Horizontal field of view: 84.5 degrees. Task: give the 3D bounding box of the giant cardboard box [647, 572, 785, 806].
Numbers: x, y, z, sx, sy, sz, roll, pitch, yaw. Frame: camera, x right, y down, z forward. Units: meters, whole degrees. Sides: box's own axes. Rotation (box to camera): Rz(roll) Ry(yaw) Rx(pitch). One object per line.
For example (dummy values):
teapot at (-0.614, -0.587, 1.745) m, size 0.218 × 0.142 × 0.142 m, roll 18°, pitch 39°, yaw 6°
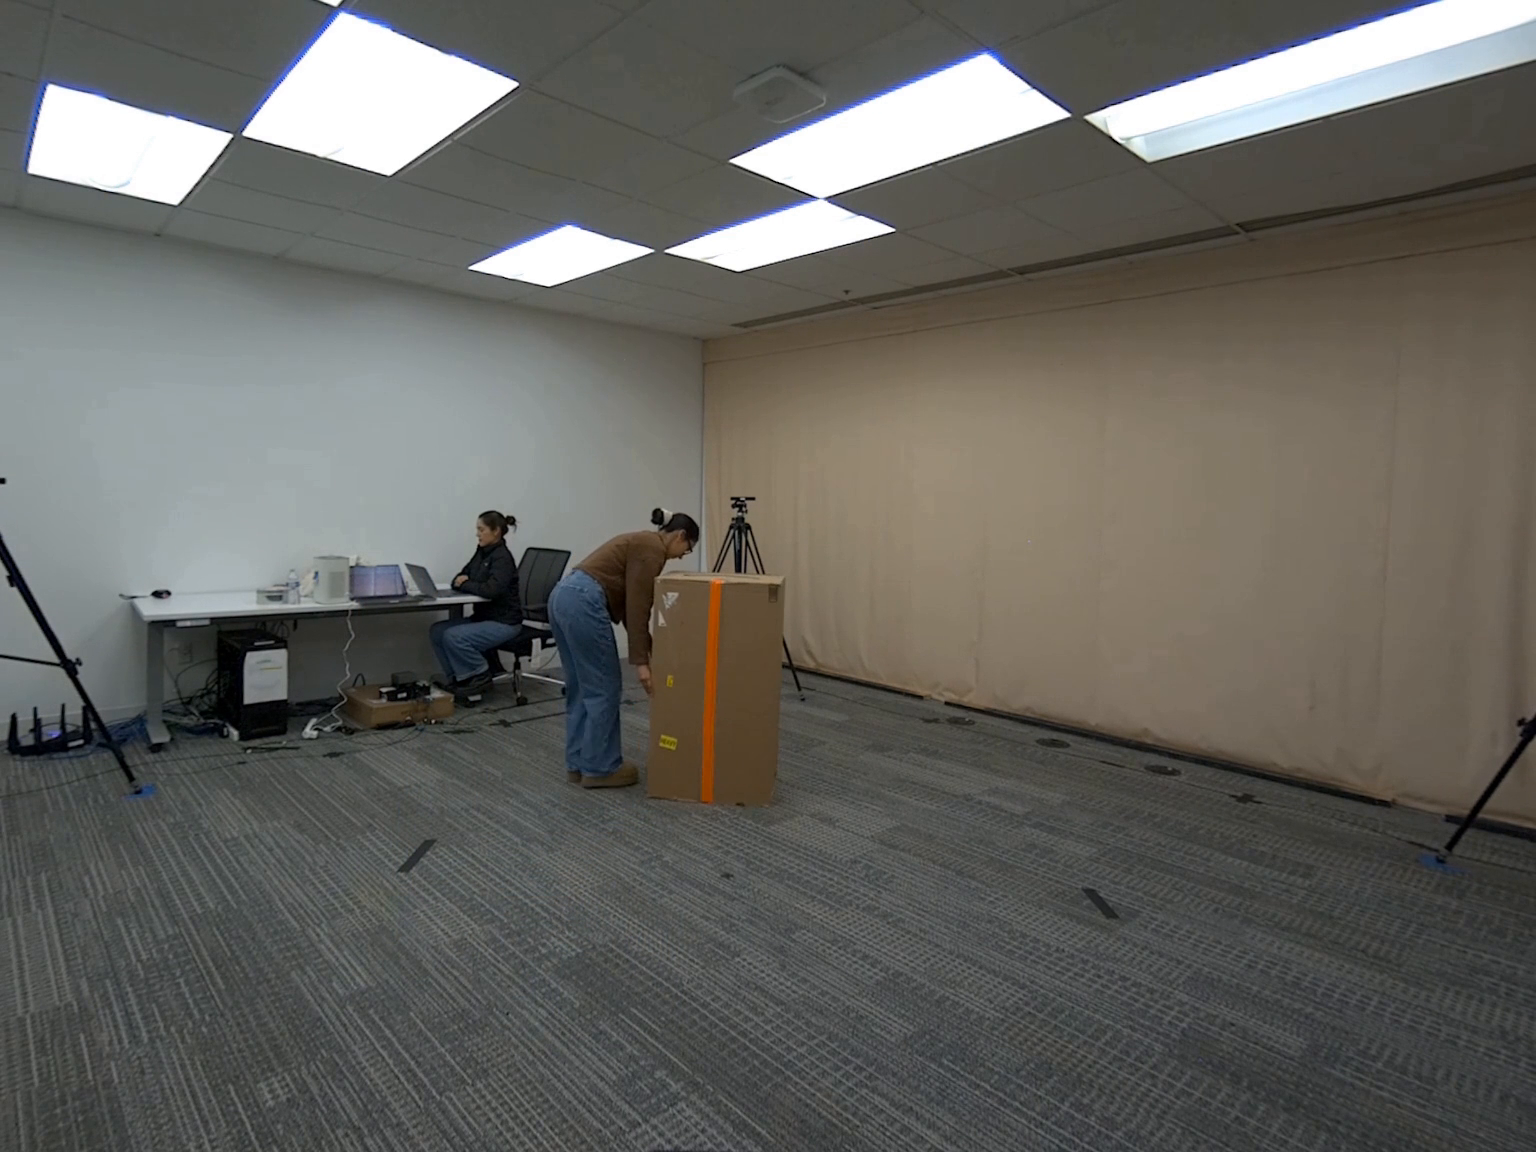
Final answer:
giant cardboard box at (-0.250, 0.515, 4.030) m, size 0.580 × 1.023 × 0.425 m, roll 3°, pitch 3°, yaw 5°
